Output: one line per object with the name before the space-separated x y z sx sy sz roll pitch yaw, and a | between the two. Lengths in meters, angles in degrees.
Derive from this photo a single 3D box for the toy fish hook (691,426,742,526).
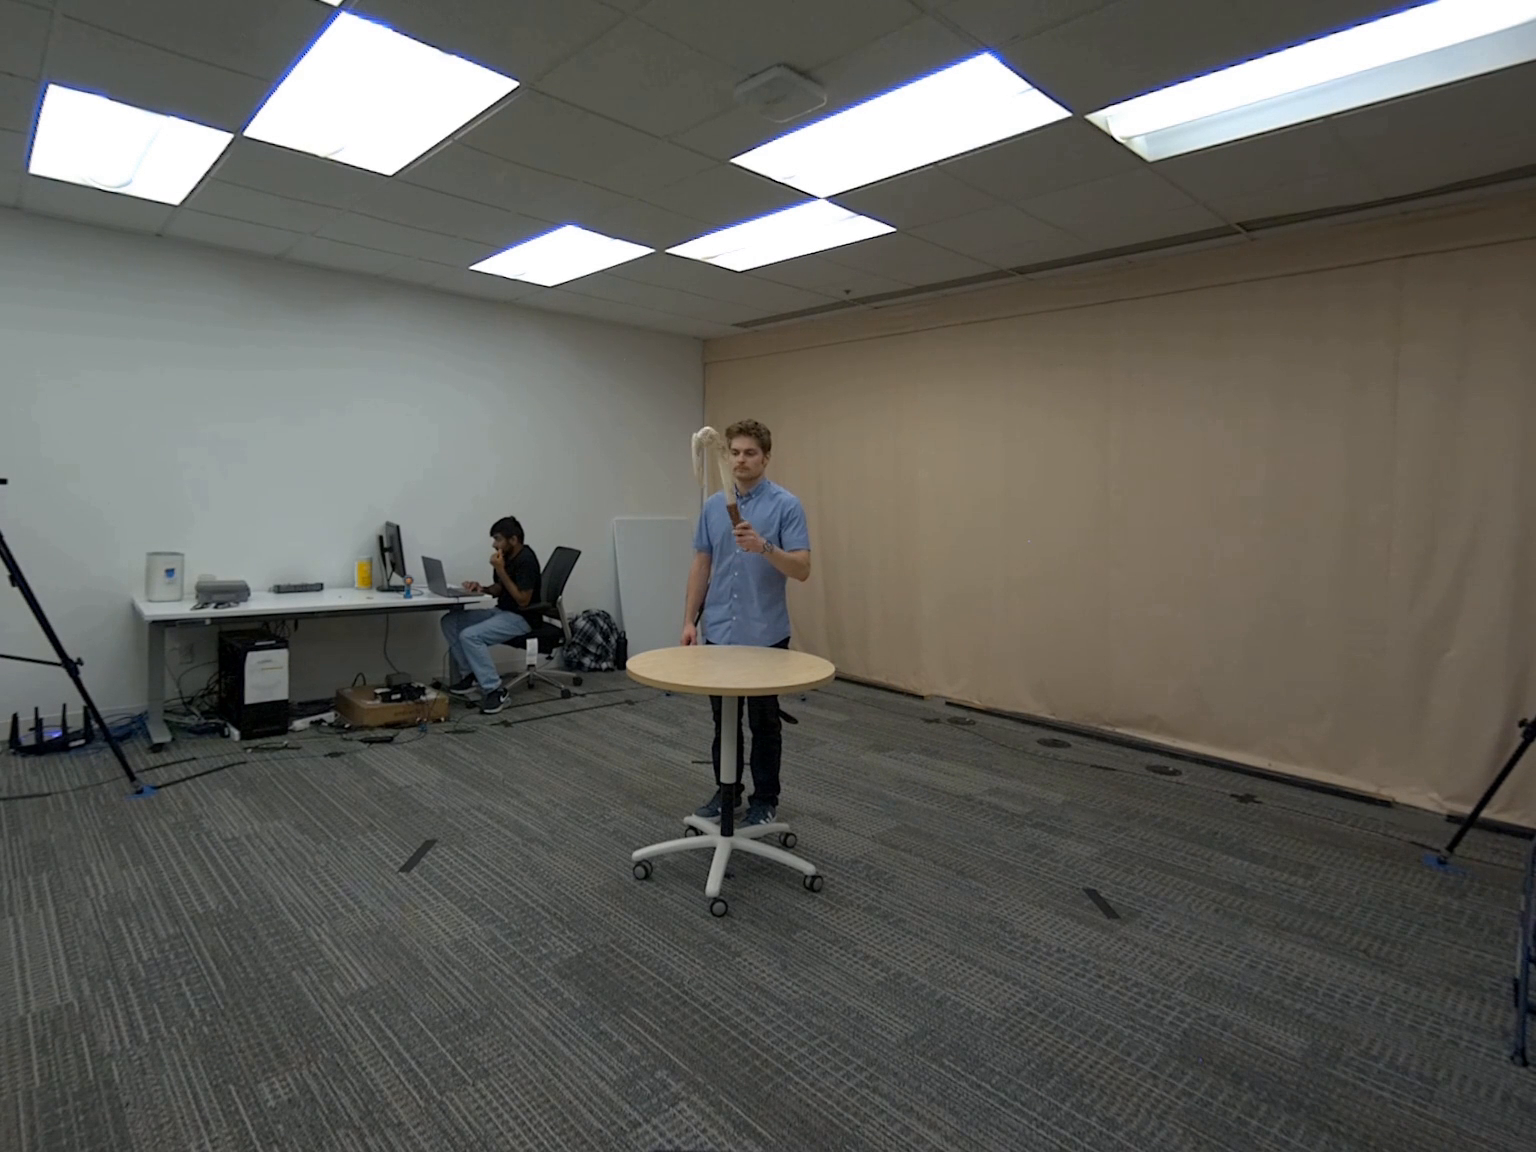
toy fish hook | -0.198 -0.286 3.114 0.049 0.498 0.224 -4 24 34
